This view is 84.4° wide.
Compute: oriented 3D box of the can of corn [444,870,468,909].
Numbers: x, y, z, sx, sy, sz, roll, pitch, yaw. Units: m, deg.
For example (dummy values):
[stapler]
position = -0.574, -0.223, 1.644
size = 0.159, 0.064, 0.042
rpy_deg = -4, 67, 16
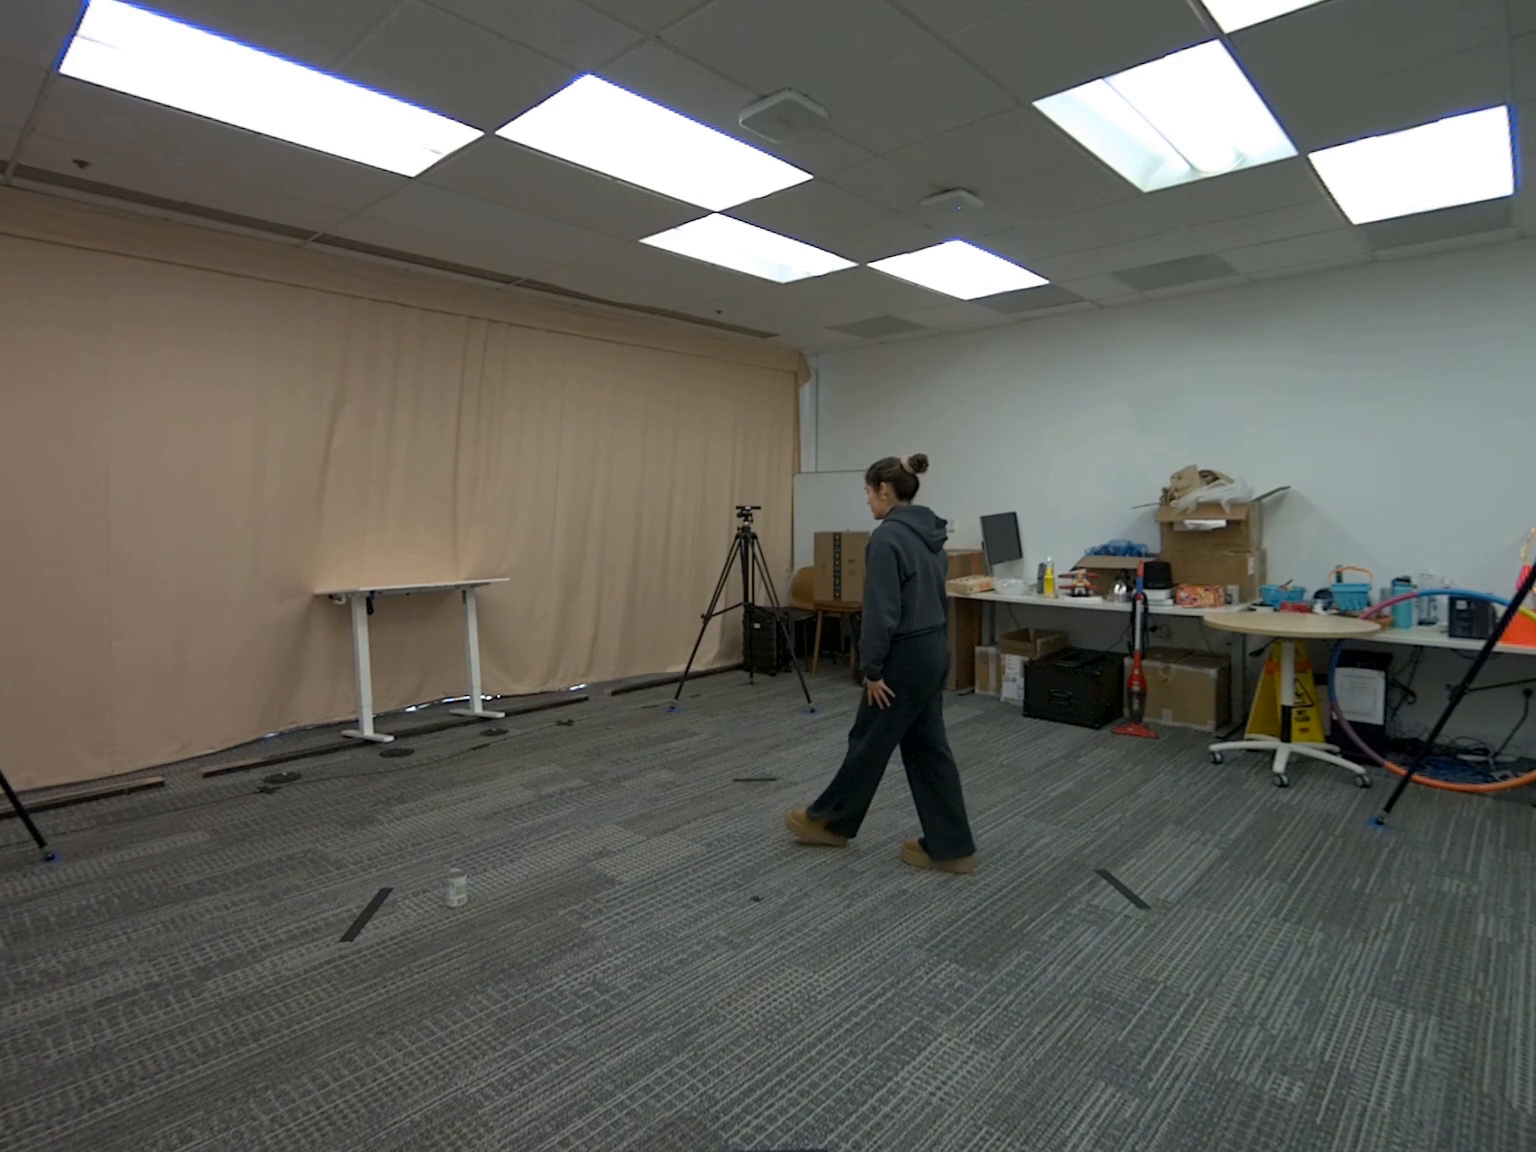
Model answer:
[can of corn]
position = -1.084, 1.117, 2.965
size = 0.074, 0.111, 0.074
rpy_deg = 0, 4, -2
